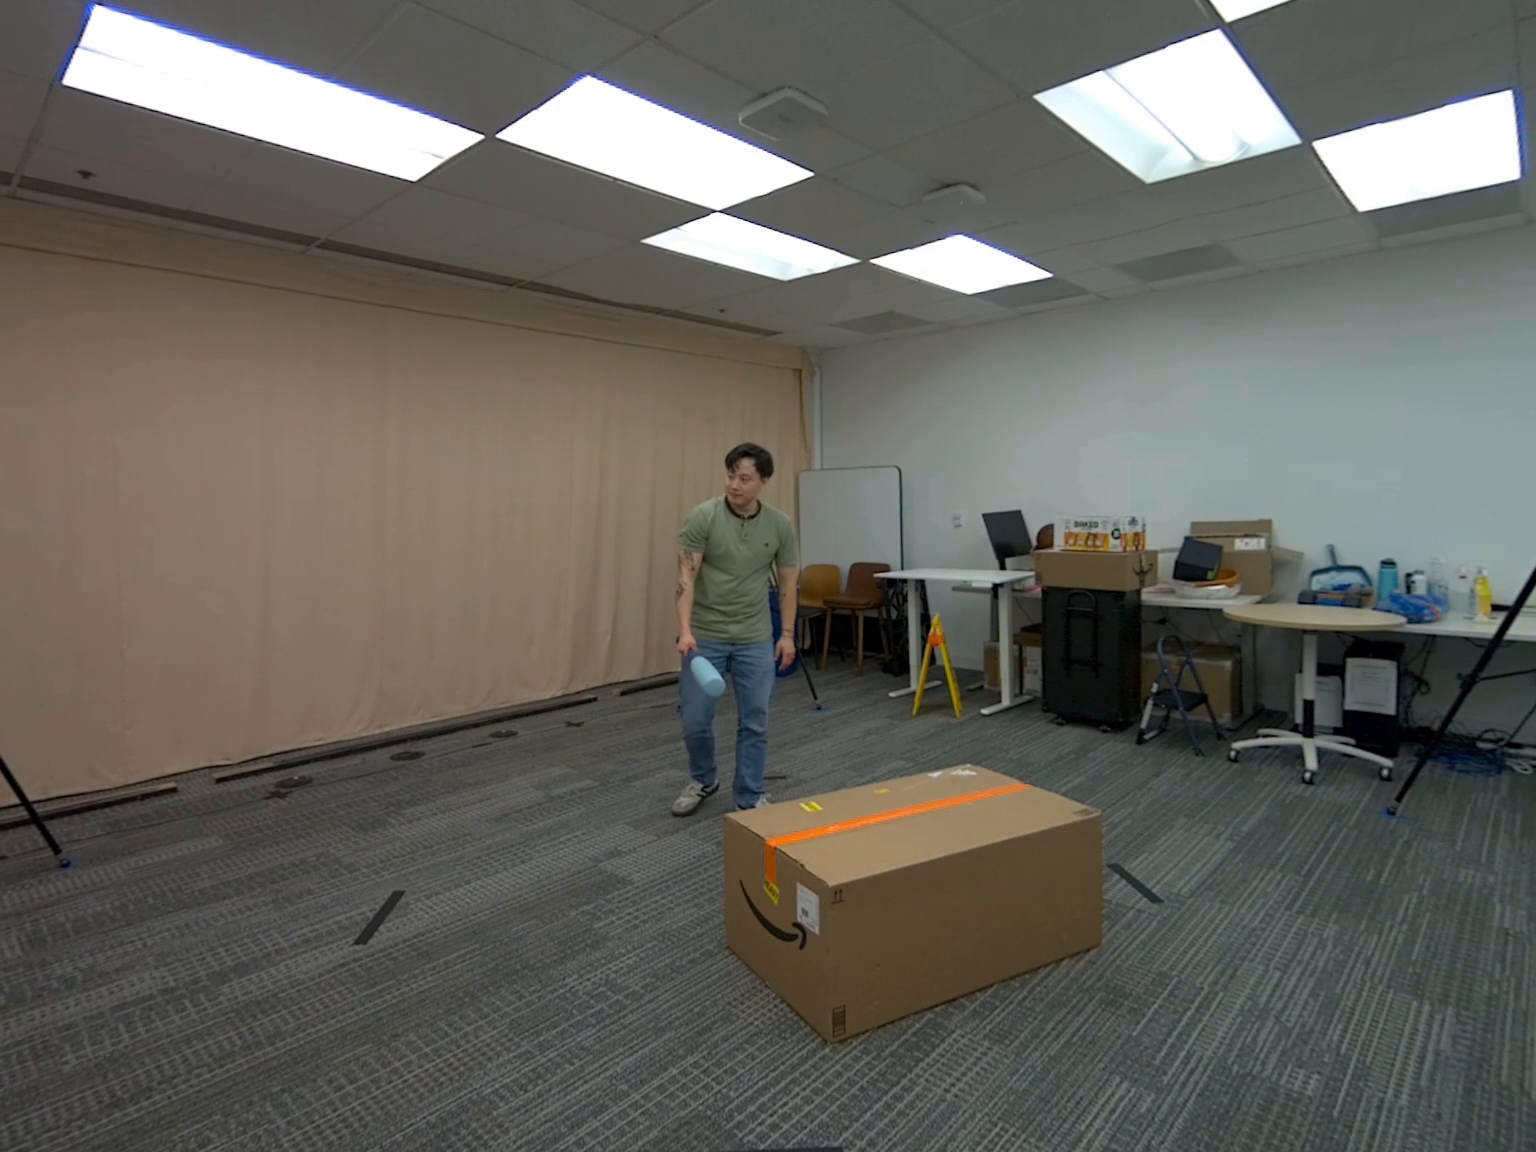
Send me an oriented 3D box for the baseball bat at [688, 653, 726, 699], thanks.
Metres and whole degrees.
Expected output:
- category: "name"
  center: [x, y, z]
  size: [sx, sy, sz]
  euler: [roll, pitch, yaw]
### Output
- category: "baseball bat"
  center: [-0.281, 0.356, 3.382]
  size: [0.087, 0.088, 0.556]
  euler: [-2, 15, -17]
